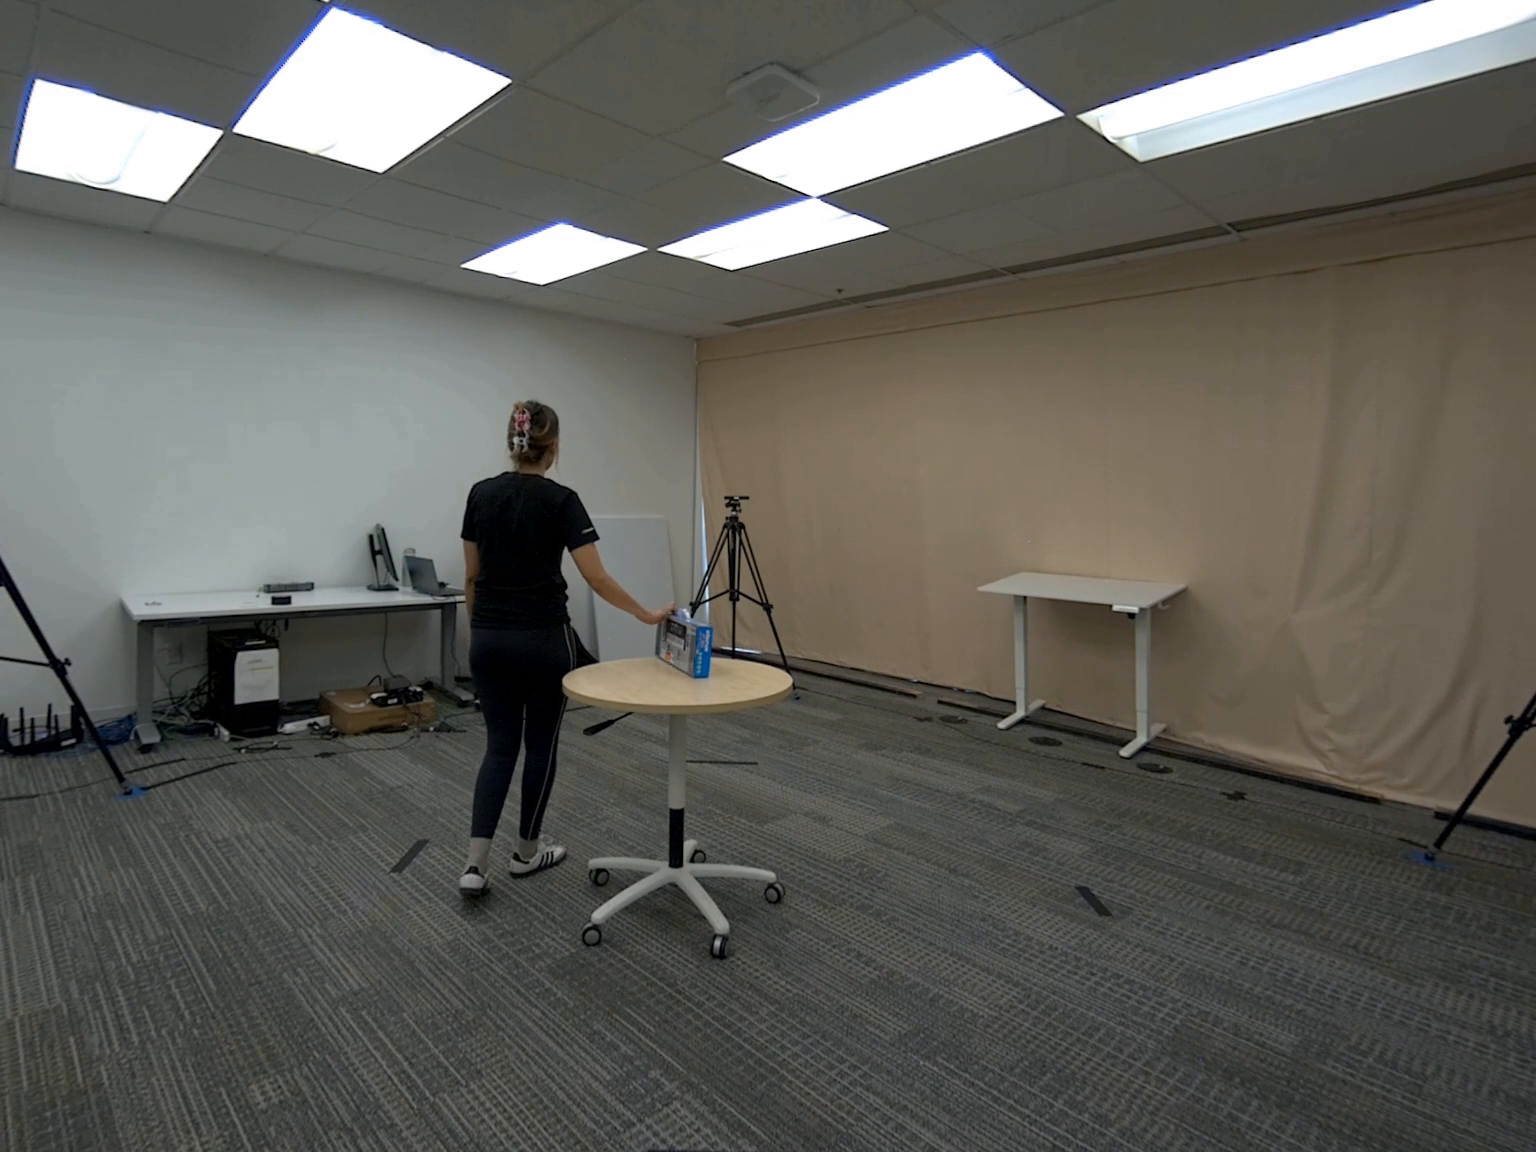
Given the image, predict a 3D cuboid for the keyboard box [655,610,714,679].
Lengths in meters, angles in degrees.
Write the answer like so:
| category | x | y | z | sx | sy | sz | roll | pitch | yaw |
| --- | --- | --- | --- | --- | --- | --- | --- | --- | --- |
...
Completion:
| category | x | y | z | sx | sy | sz | roll | pitch | yaw |
| --- | --- | --- | --- | --- | --- | --- | --- | --- | --- |
| keyboard box | -0.315 | 0.239 | 3.011 | 0.058 | 0.176 | 0.445 | 3 | 3 | -23 |
